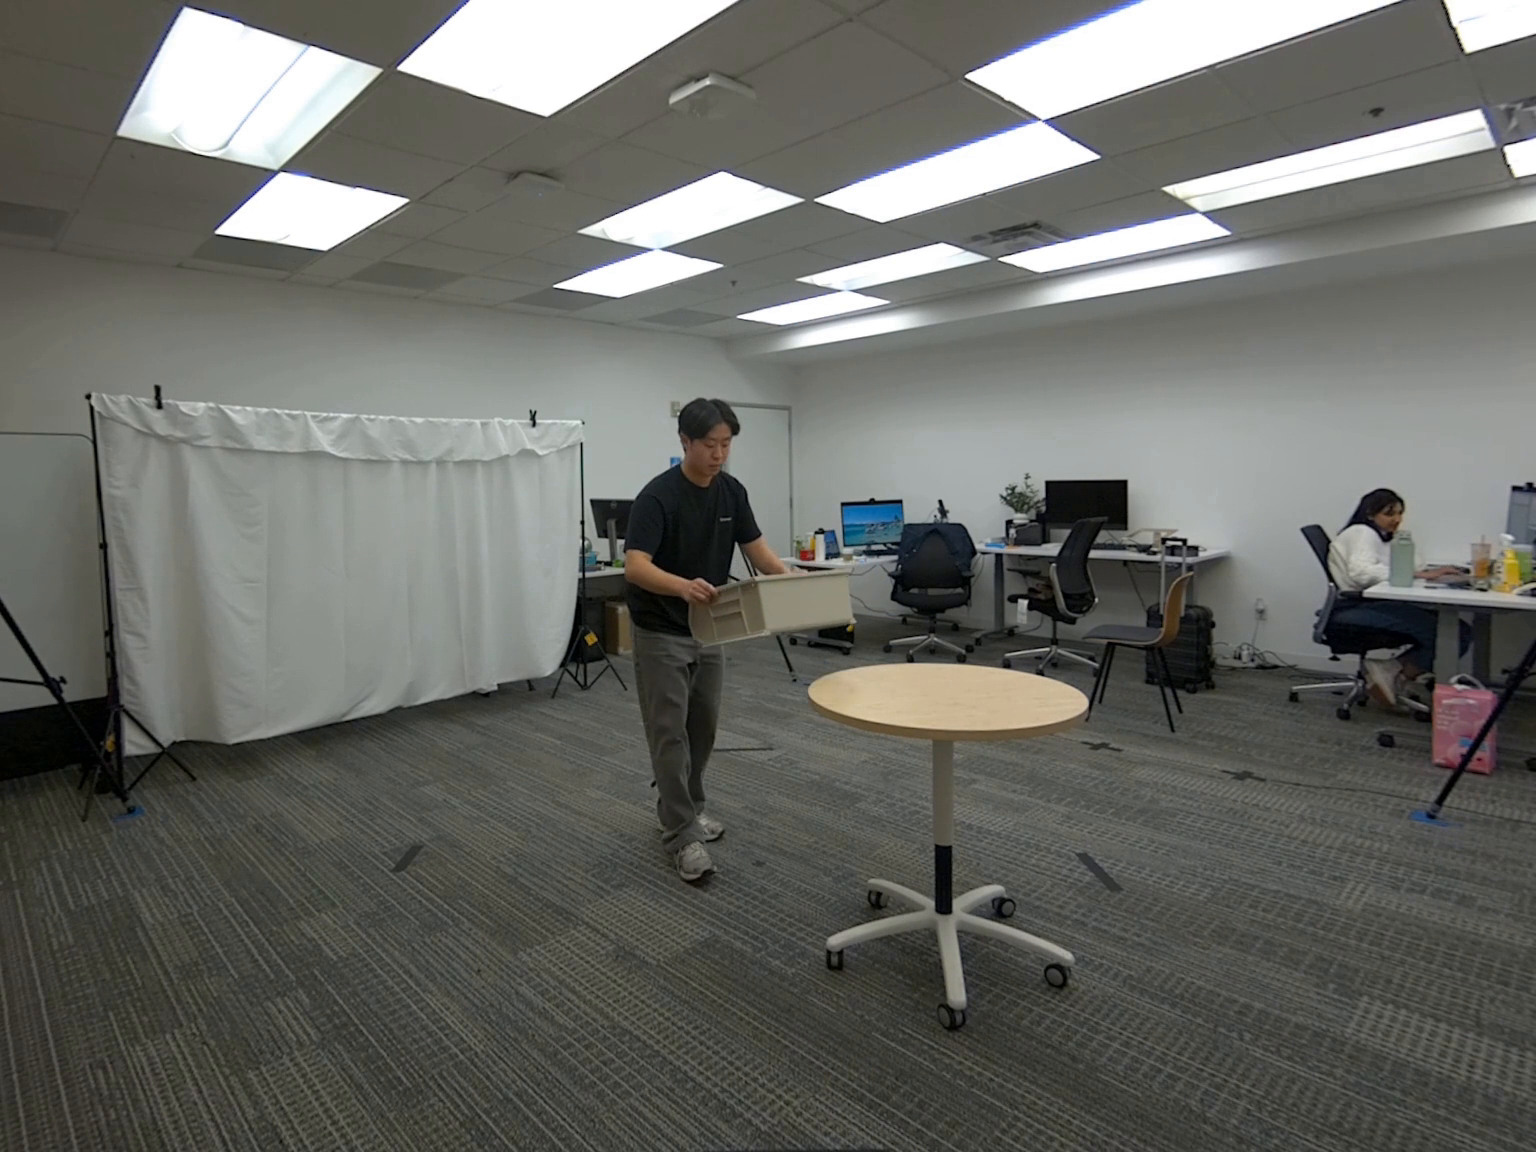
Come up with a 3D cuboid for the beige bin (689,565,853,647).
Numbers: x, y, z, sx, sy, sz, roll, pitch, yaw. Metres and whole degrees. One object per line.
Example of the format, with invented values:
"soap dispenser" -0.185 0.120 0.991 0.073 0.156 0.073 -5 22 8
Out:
"beige bin" 0.008 0.118 2.833 0.411 0.190 0.385 -3 -6 -39
